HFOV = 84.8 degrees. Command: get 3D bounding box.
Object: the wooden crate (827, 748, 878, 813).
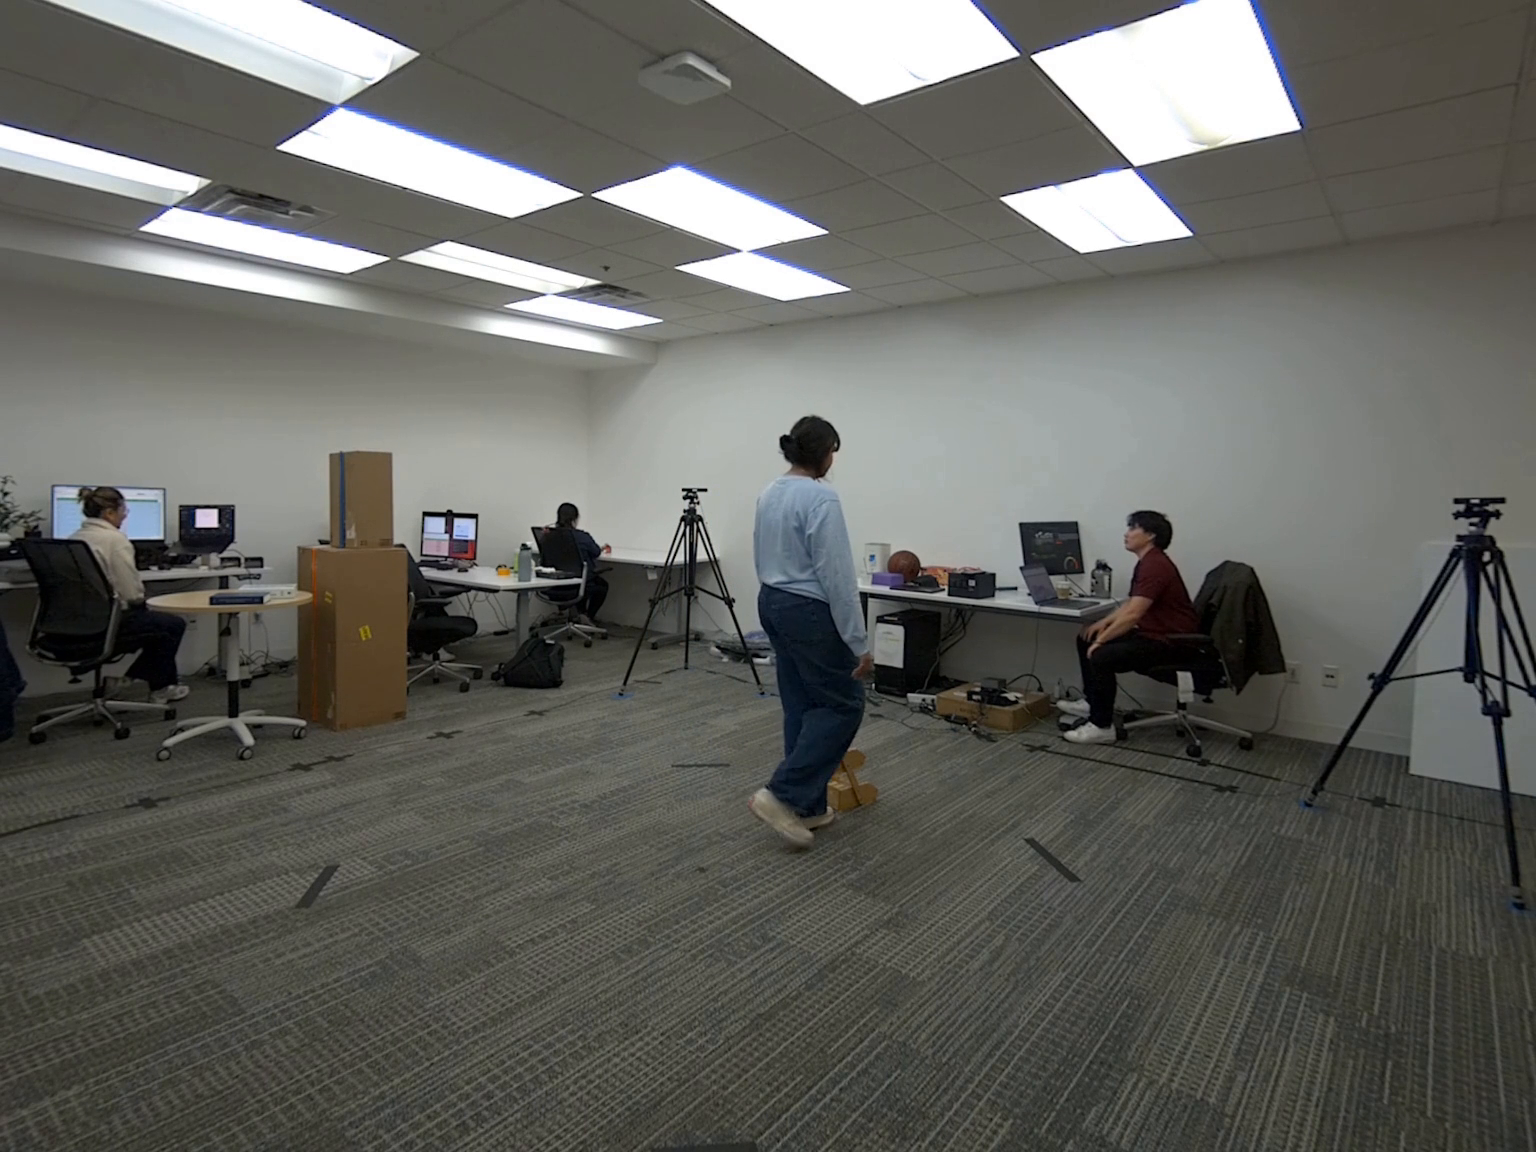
[{"bbox_3d":[0.292,0.873,3.887,0.293,0.272,0.335,-3,6,-40],"label":"wooden crate"}]
